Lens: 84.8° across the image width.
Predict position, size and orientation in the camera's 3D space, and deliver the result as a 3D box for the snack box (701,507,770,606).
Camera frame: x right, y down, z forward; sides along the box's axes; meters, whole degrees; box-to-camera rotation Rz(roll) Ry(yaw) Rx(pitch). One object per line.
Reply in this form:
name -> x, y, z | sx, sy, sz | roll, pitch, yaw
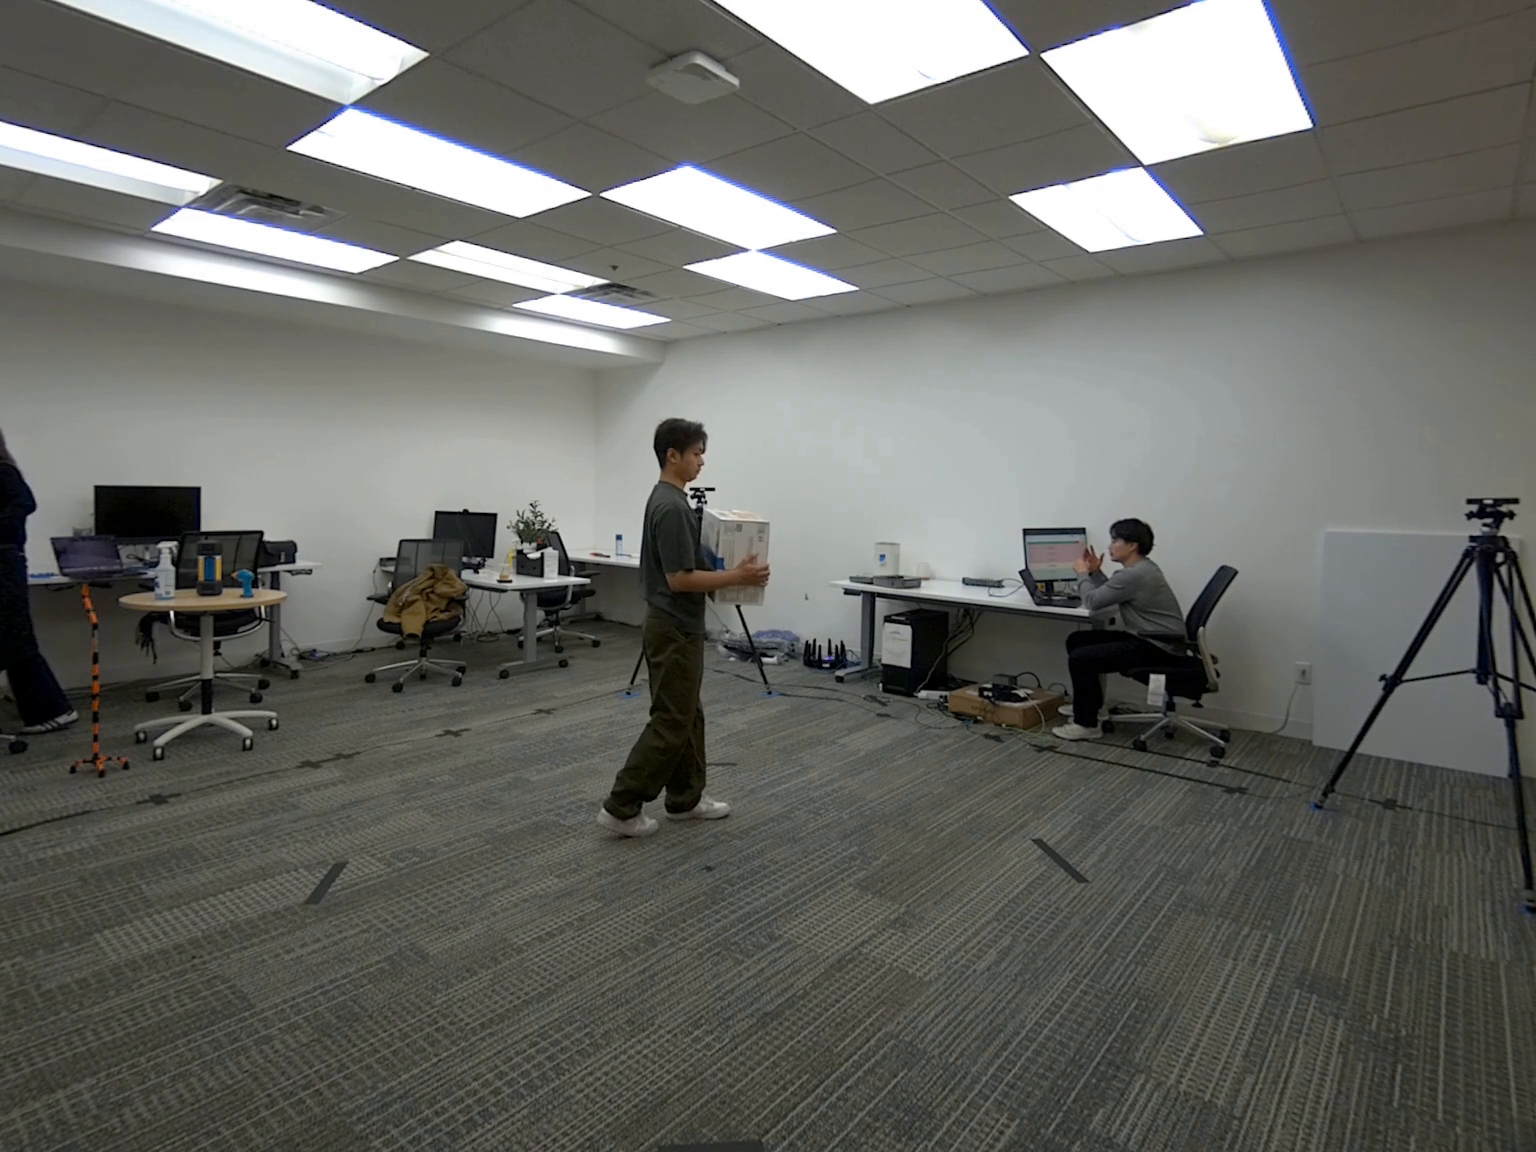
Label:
snack box -> -0.161, -0.090, 3.542 | 0.203, 0.338, 0.413 | 2, 8, -13
